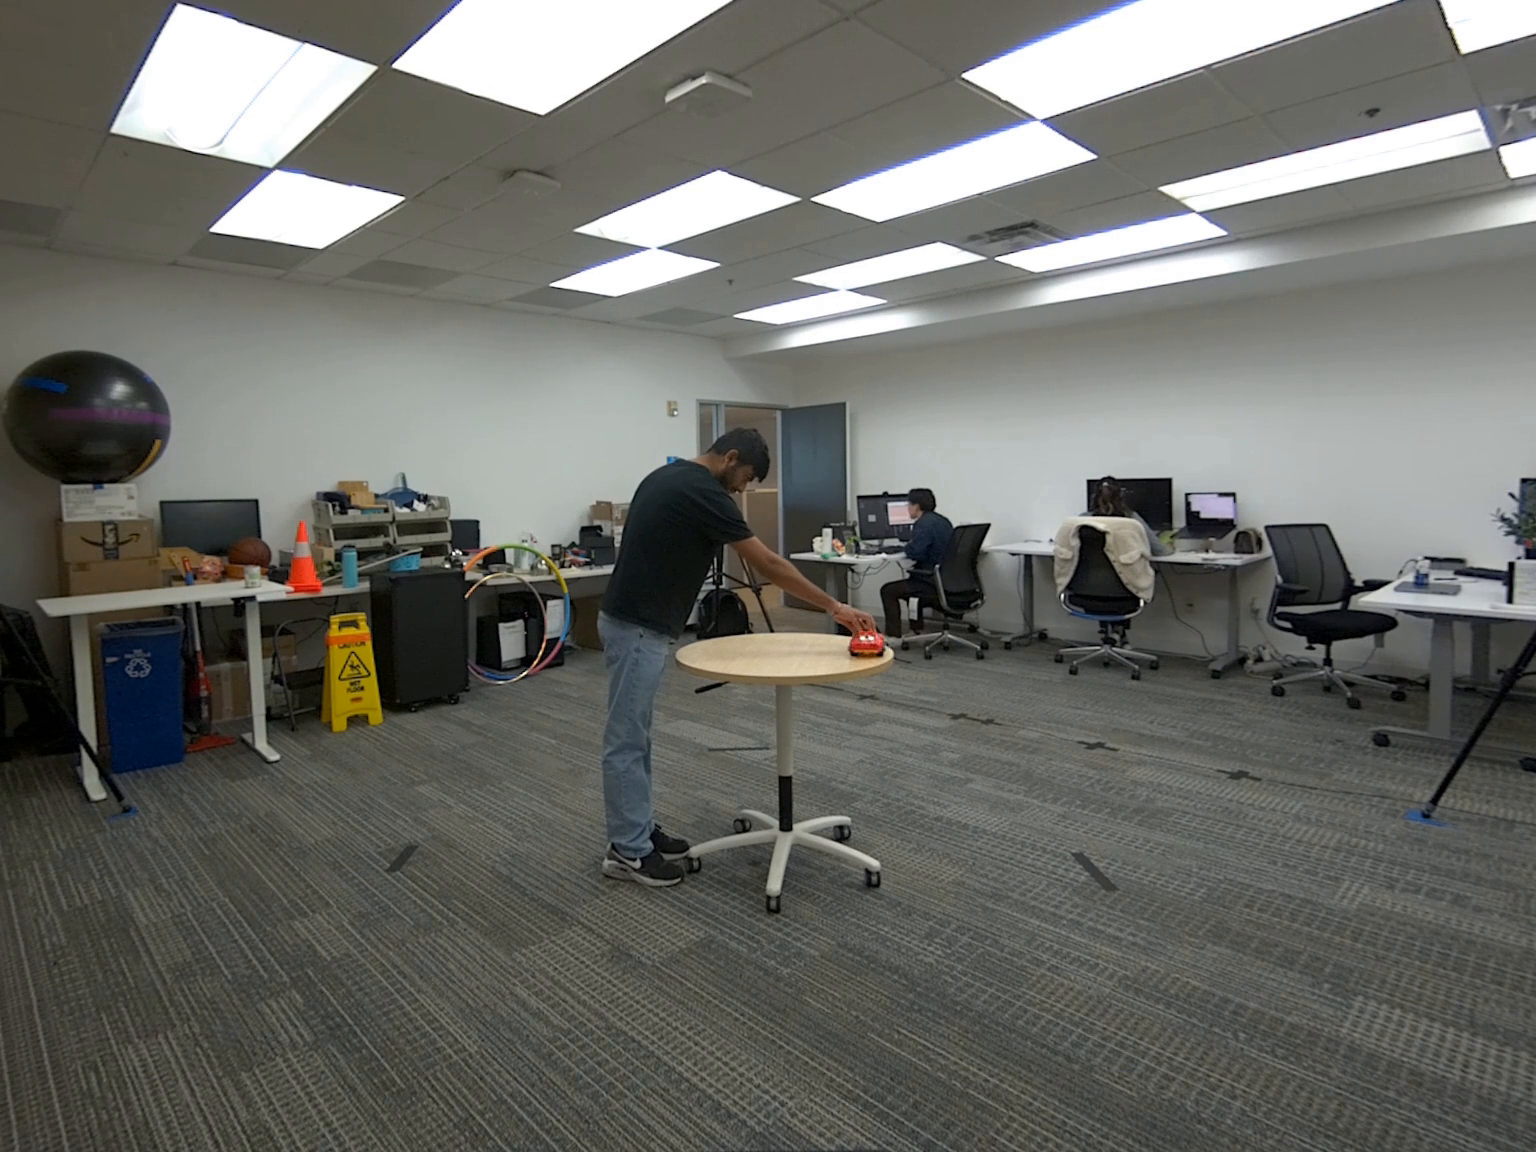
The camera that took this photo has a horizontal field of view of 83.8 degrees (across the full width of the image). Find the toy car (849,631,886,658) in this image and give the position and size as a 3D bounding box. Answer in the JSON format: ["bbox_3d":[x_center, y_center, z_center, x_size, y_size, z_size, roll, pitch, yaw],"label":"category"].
[{"bbox_3d":[0.346,0.237,2.967,0.132,0.084,0.250,1,-6,9],"label":"toy car"}]
